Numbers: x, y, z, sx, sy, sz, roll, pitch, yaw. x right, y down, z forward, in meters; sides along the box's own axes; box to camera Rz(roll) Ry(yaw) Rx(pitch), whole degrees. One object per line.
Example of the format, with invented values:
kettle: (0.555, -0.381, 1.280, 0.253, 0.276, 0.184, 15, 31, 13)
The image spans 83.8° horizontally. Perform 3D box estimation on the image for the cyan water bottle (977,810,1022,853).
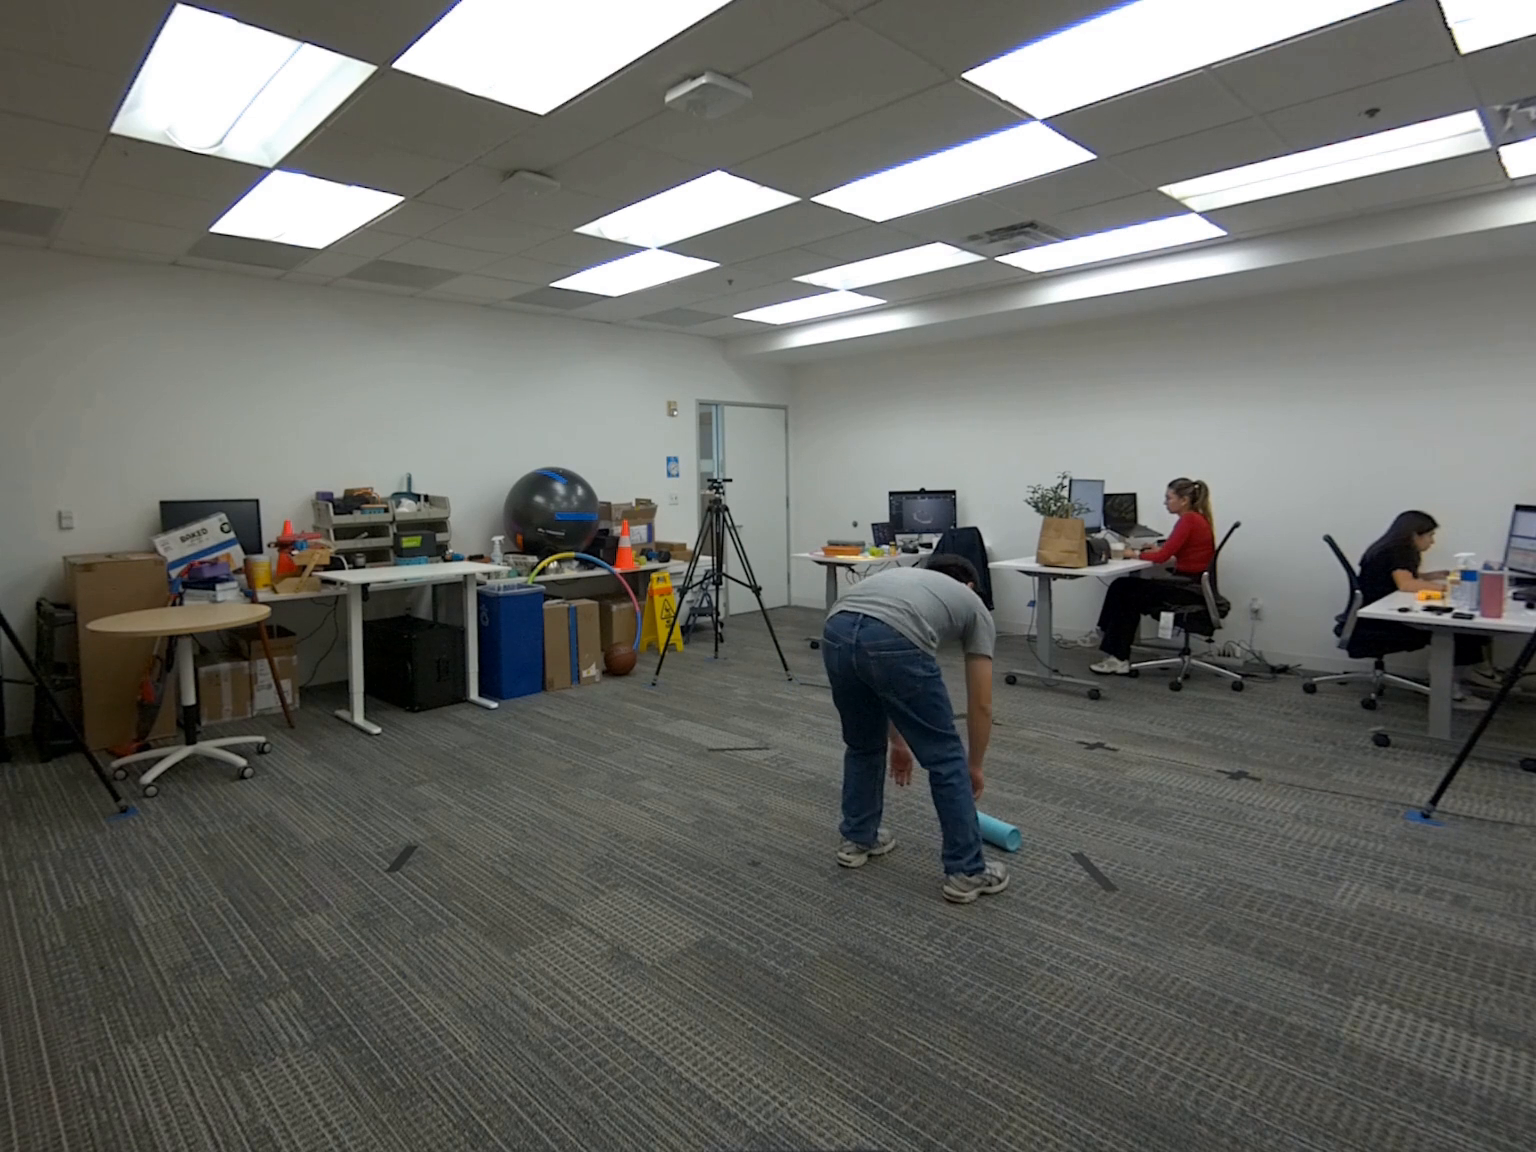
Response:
cyan water bottle: (0.839, 0.963, 3.282, 0.090, 0.092, 0.291, -4, 5, -31)
